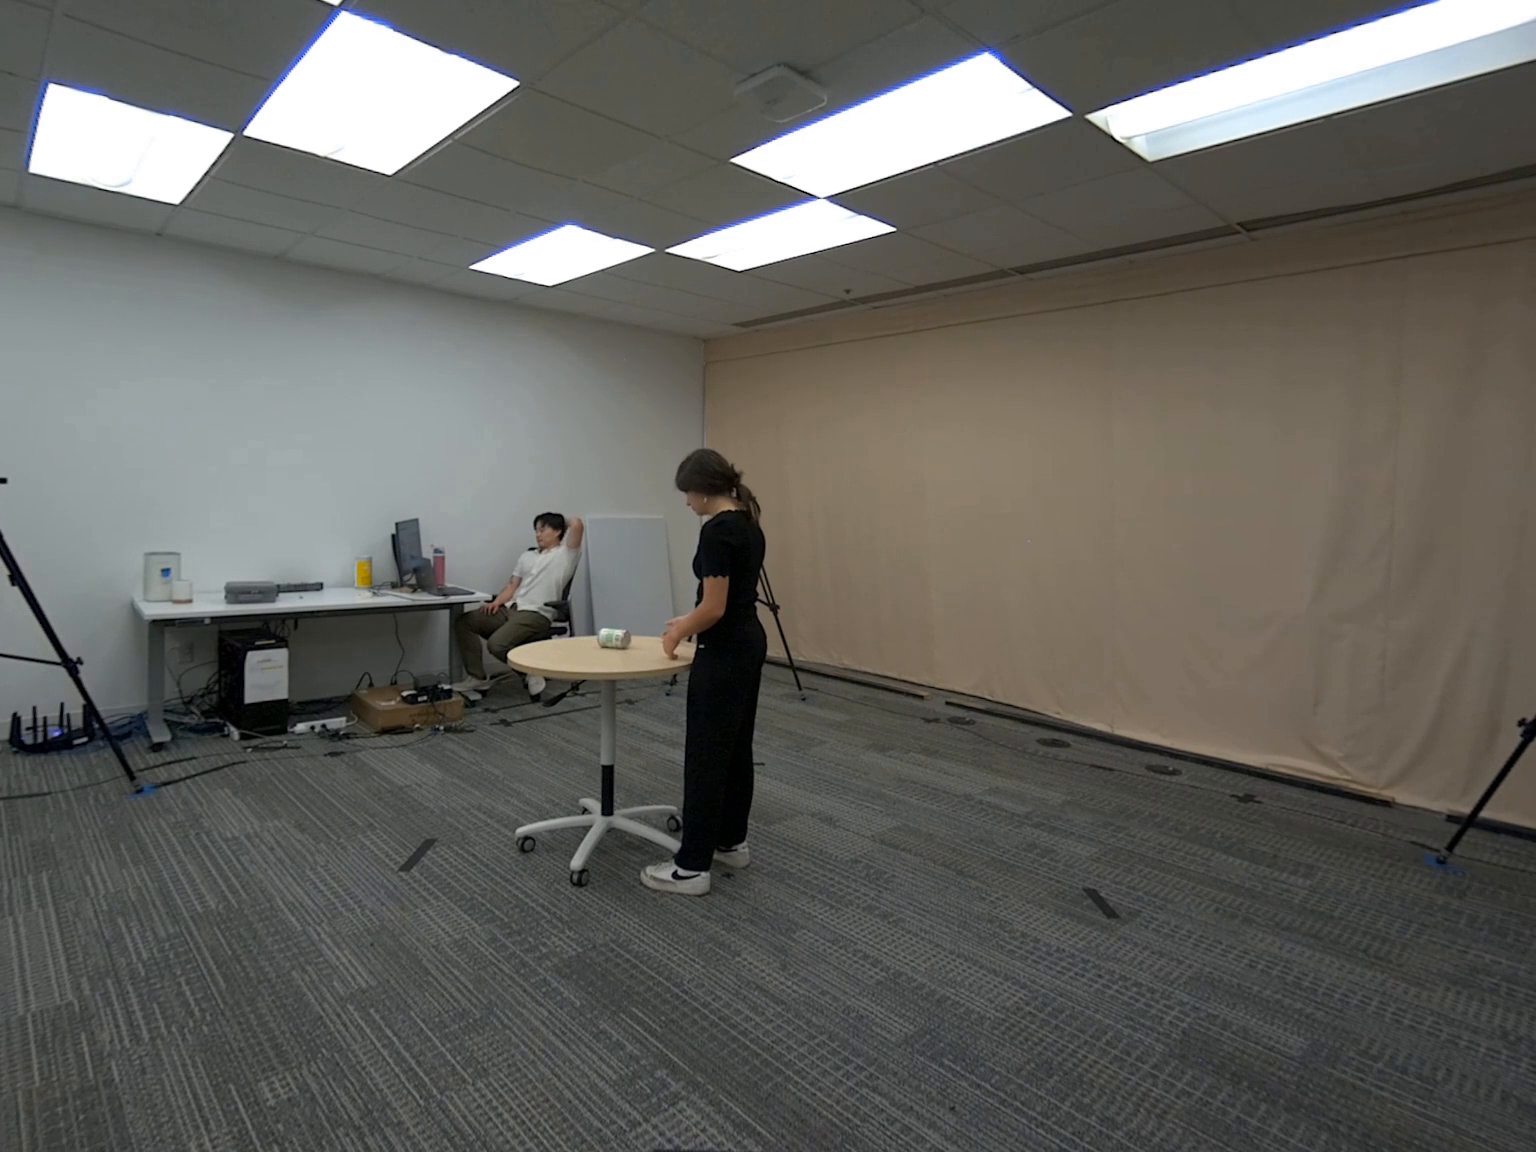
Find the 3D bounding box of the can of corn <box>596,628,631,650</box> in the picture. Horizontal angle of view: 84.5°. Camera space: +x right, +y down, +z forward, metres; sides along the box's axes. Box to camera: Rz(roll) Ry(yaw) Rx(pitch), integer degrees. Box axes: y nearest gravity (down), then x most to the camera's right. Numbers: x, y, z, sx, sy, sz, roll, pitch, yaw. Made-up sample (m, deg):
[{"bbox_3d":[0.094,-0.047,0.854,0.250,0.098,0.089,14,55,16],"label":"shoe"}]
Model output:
[{"bbox_3d":[-0.616,0.246,3.355,0.112,0.074,0.073,3,4,14],"label":"can of corn"}]
